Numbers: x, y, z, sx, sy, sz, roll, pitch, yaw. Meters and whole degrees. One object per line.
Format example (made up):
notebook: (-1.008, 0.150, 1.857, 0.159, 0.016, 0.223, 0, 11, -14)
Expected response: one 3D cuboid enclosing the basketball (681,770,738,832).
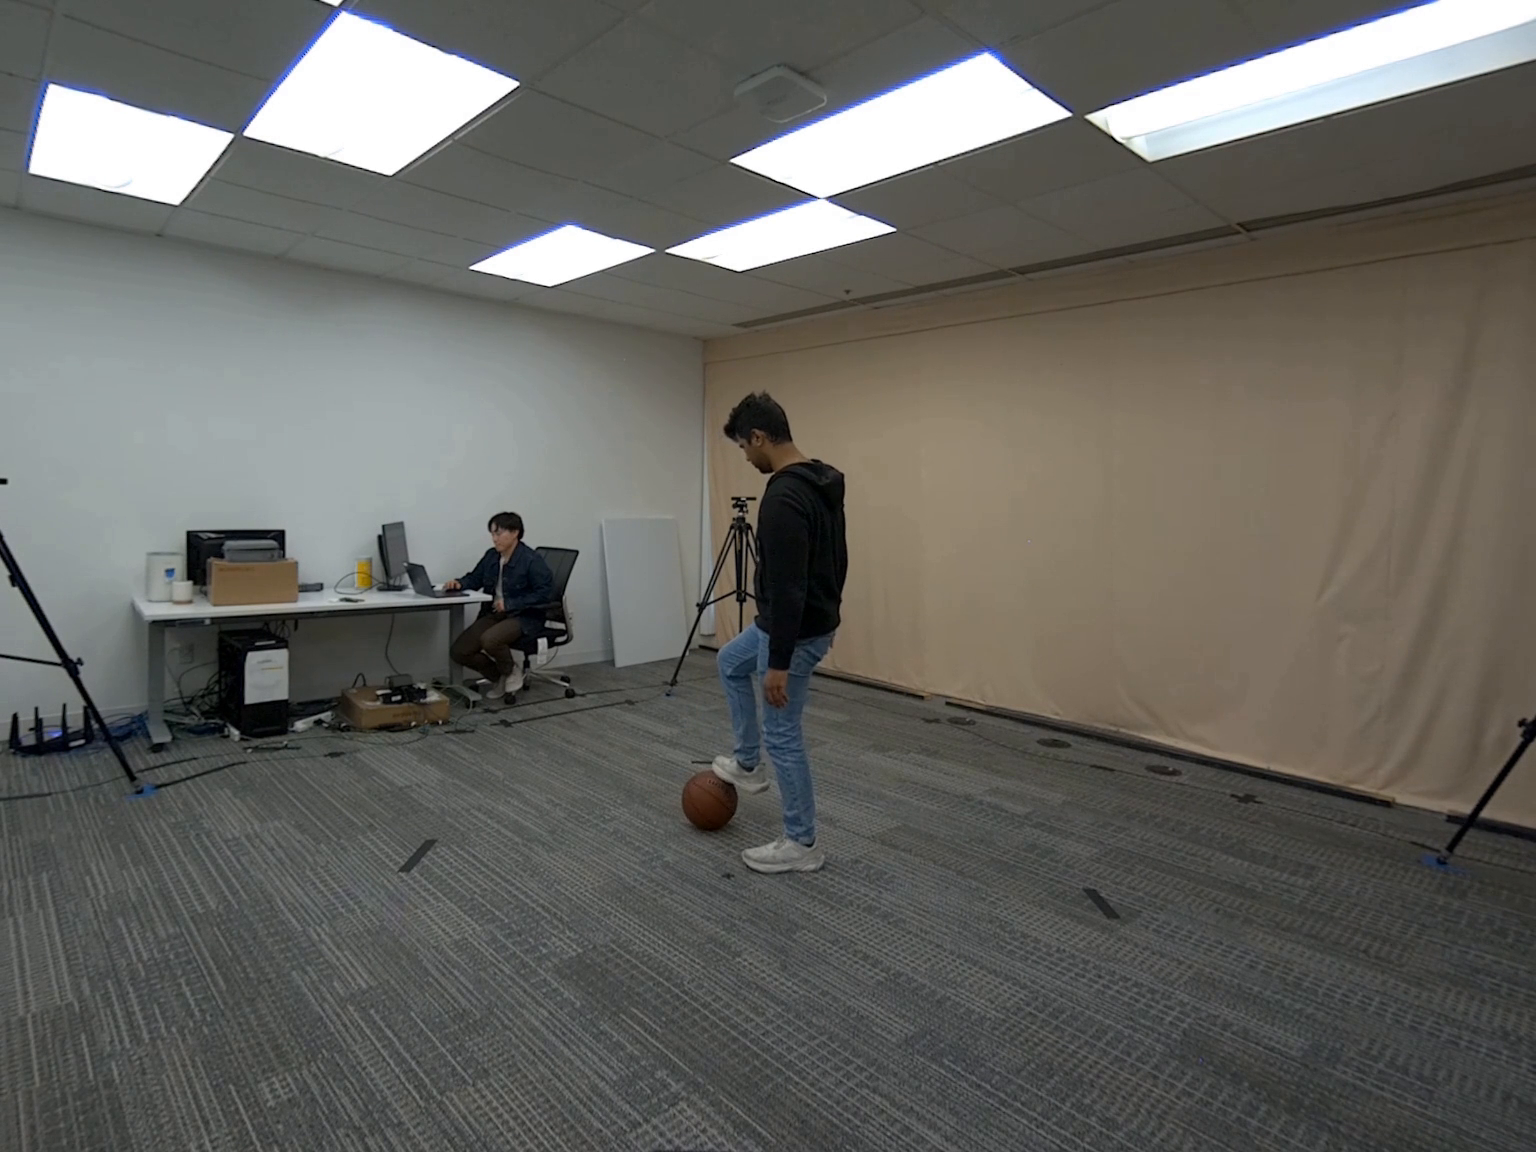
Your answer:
basketball: (-0.271, 0.945, 3.568, 0.236, 0.235, 0.237, 1, 4, -1)
